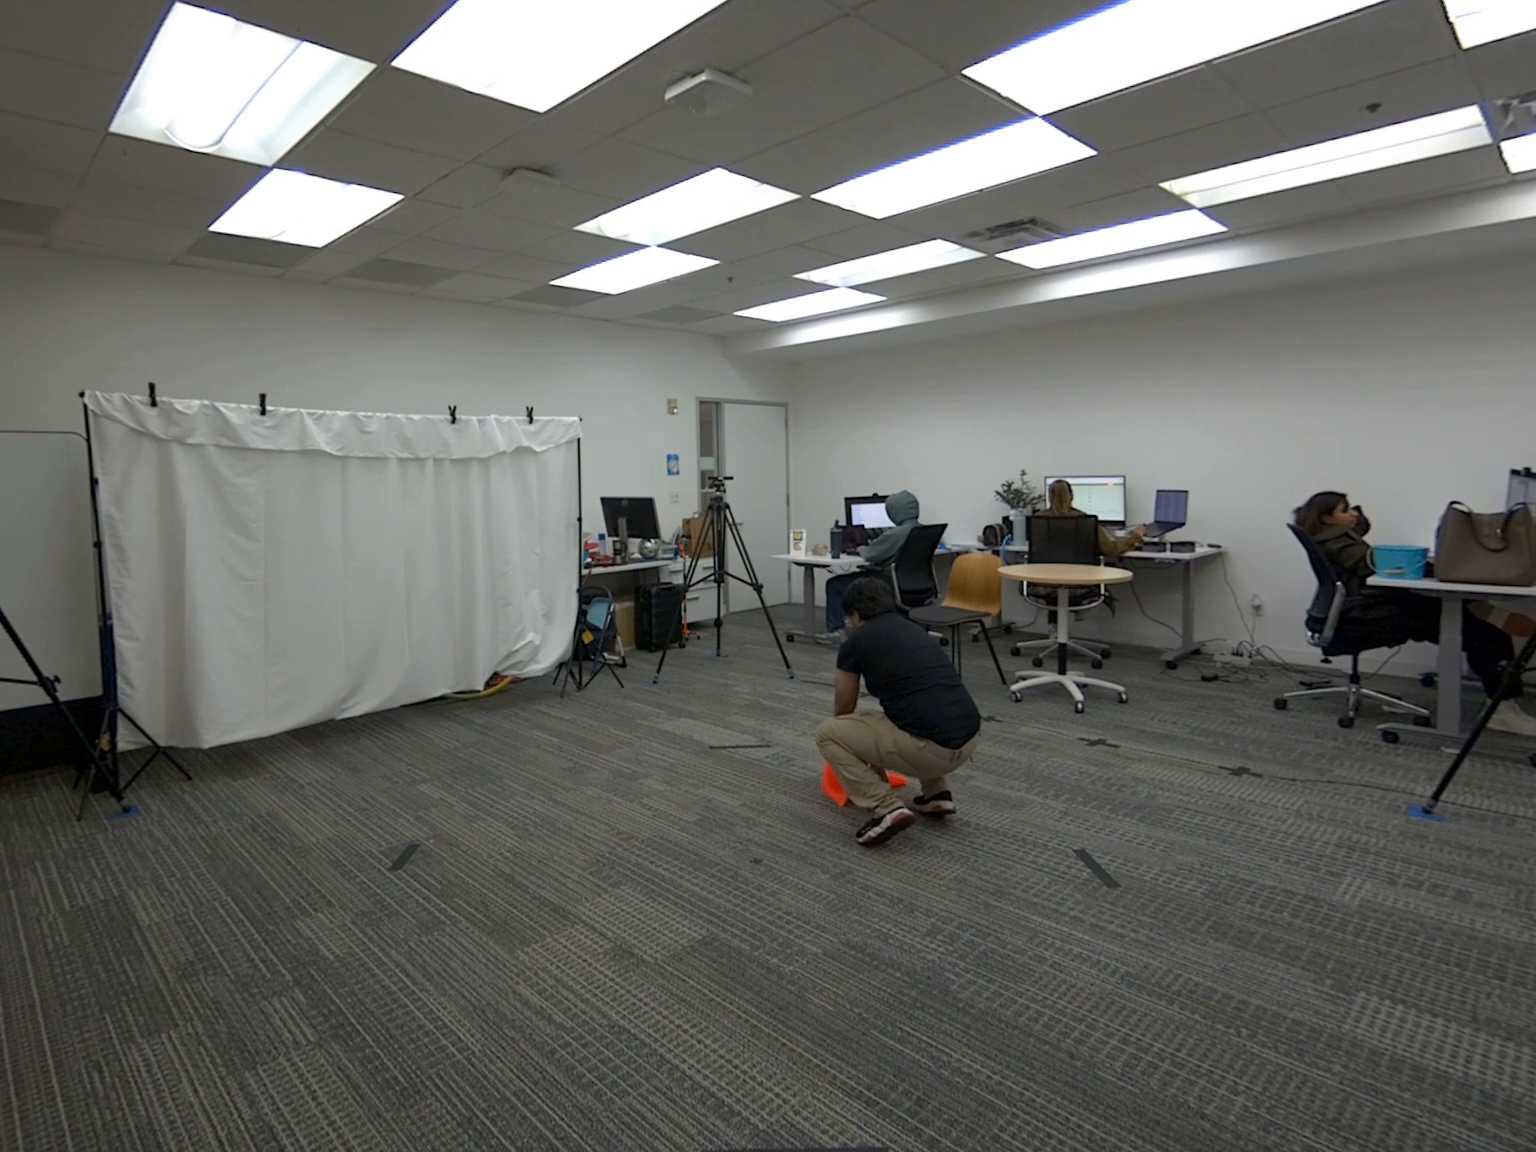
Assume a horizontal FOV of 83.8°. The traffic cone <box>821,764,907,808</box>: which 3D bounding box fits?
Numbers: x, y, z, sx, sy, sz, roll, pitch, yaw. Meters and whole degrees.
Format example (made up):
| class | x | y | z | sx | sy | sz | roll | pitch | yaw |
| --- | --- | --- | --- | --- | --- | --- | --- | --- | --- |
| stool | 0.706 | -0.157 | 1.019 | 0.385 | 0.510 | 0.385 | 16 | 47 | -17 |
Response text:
| class | x | y | z | sx | sy | sz | roll | pitch | yaw |
| --- | --- | --- | --- | --- | --- | --- | --- | --- | --- |
| traffic cone | 0.470 | 0.904 | 3.766 | 0.374 | 0.204 | 0.210 | 12 | 9 | -25 |
